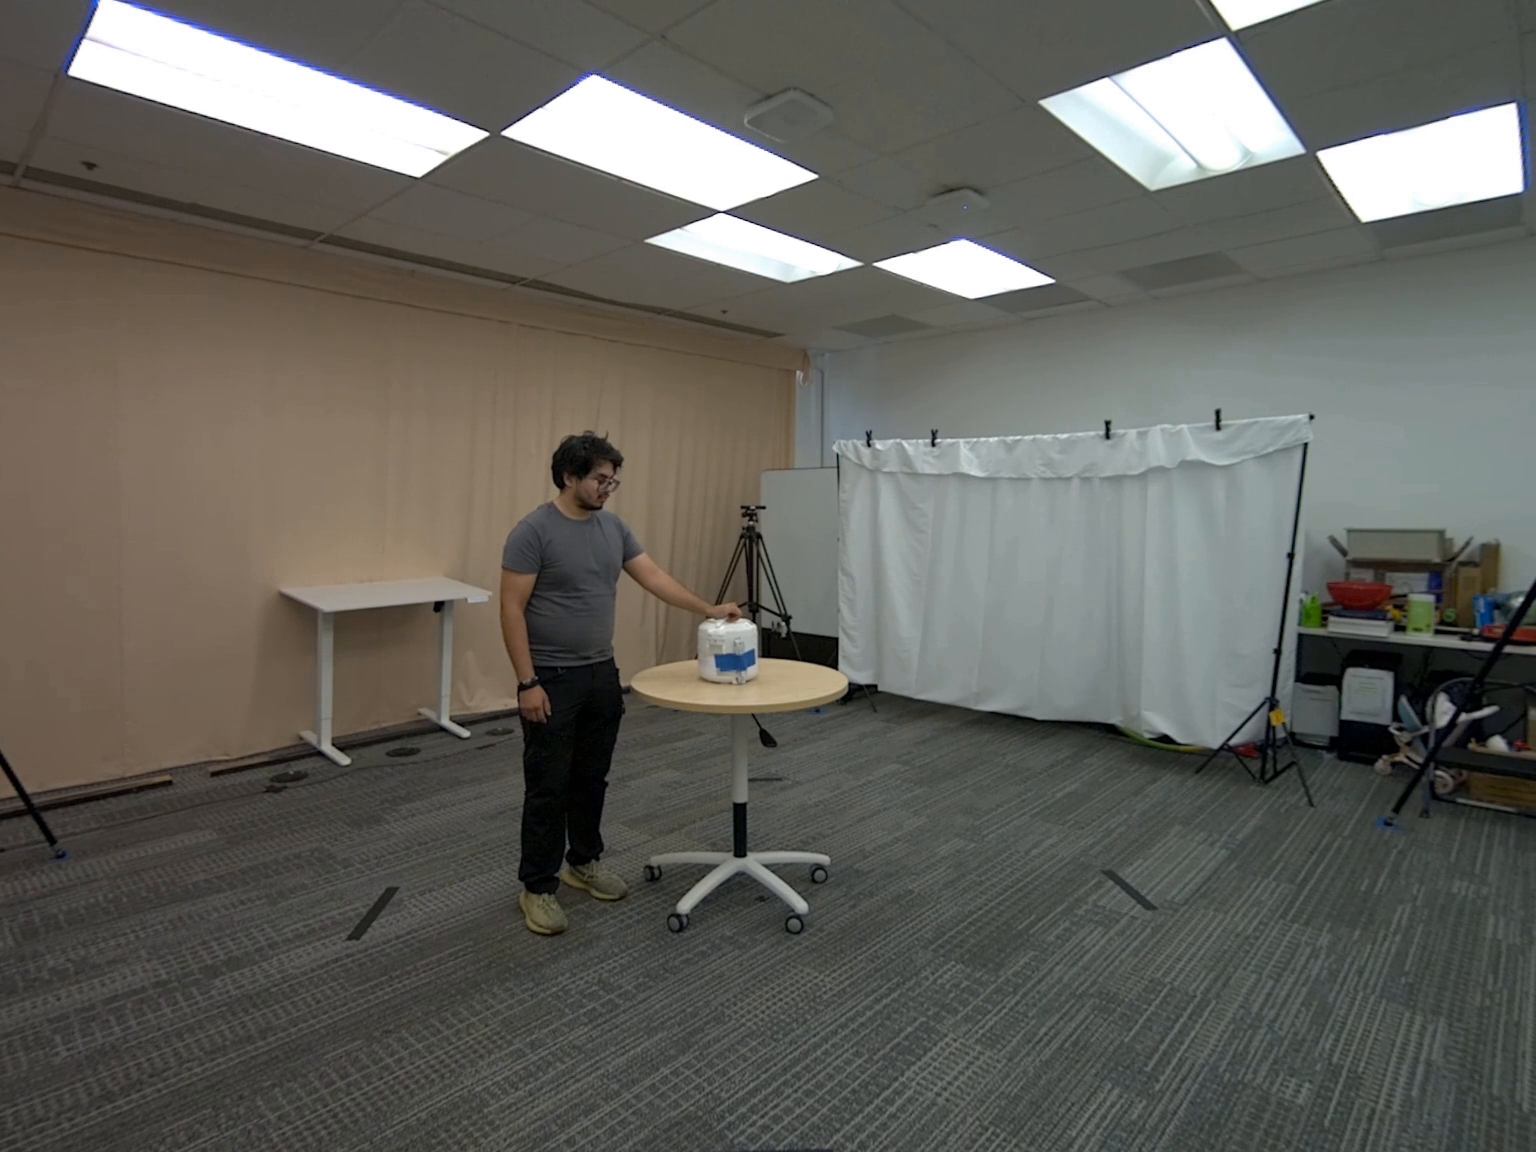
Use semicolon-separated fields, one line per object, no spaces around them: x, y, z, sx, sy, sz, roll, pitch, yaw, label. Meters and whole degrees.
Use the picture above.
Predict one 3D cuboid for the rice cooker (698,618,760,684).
-0.141;0.250;2.965;0.222;0.232;0.216;2;5;22;rice cooker
